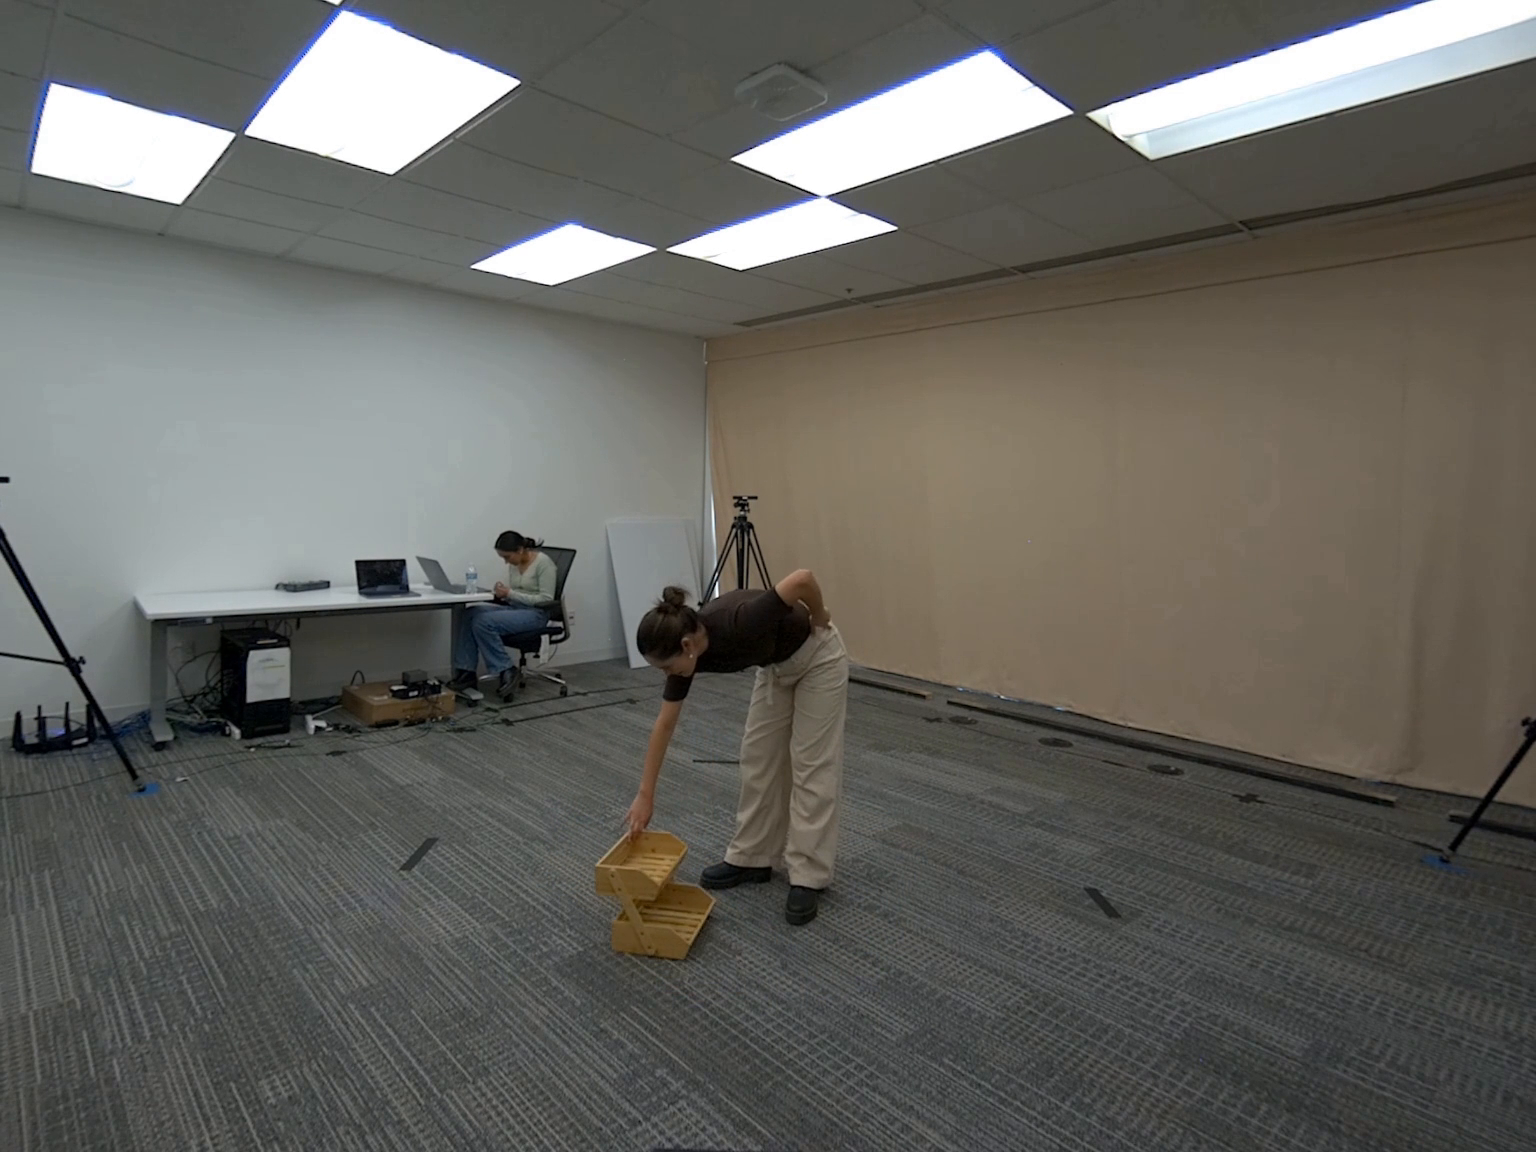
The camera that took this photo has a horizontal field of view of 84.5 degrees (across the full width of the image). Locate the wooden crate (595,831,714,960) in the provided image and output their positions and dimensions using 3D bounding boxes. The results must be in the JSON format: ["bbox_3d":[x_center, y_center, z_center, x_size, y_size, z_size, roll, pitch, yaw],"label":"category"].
[{"bbox_3d":[-0.352,1.002,2.676,0.305,0.273,0.322,0,4,13],"label":"wooden crate"}]
